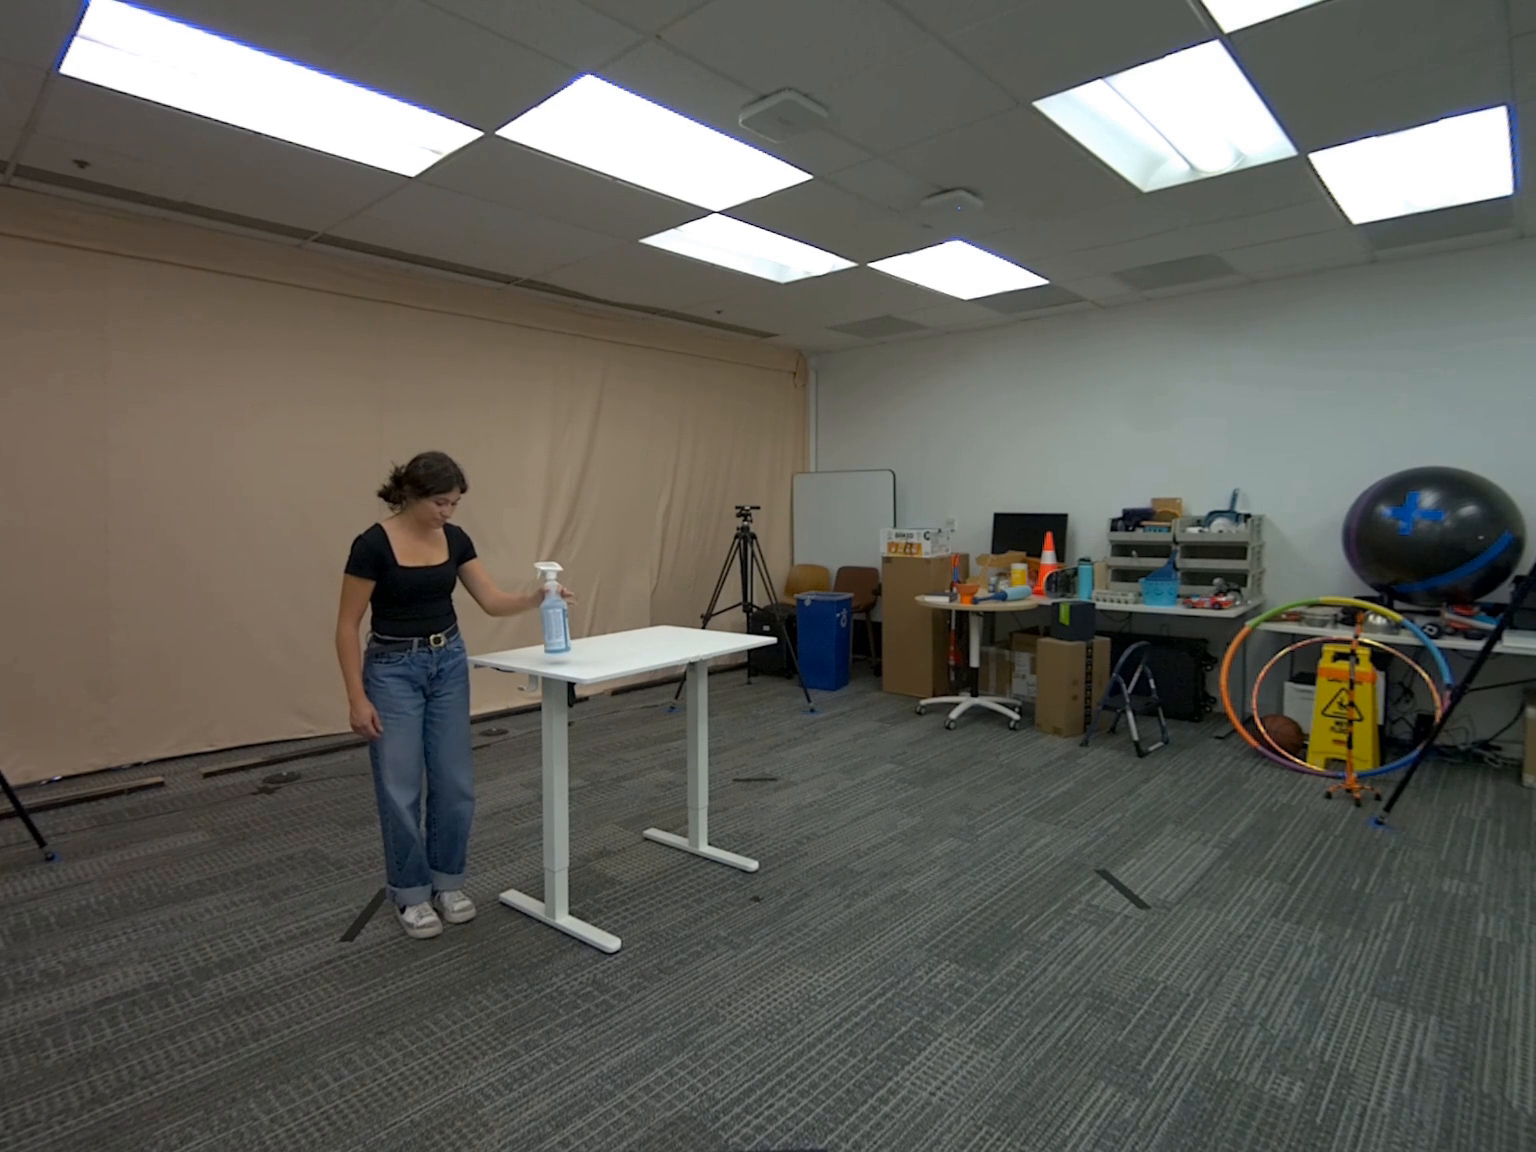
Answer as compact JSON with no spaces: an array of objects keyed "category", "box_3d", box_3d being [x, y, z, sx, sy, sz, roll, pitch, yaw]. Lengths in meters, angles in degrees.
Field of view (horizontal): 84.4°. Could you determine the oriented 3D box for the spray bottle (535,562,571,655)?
[{"category":"spray bottle","box_3d":[-0.701,0.104,2.731,0.092,0.297,0.085,-7,0,29]}]
